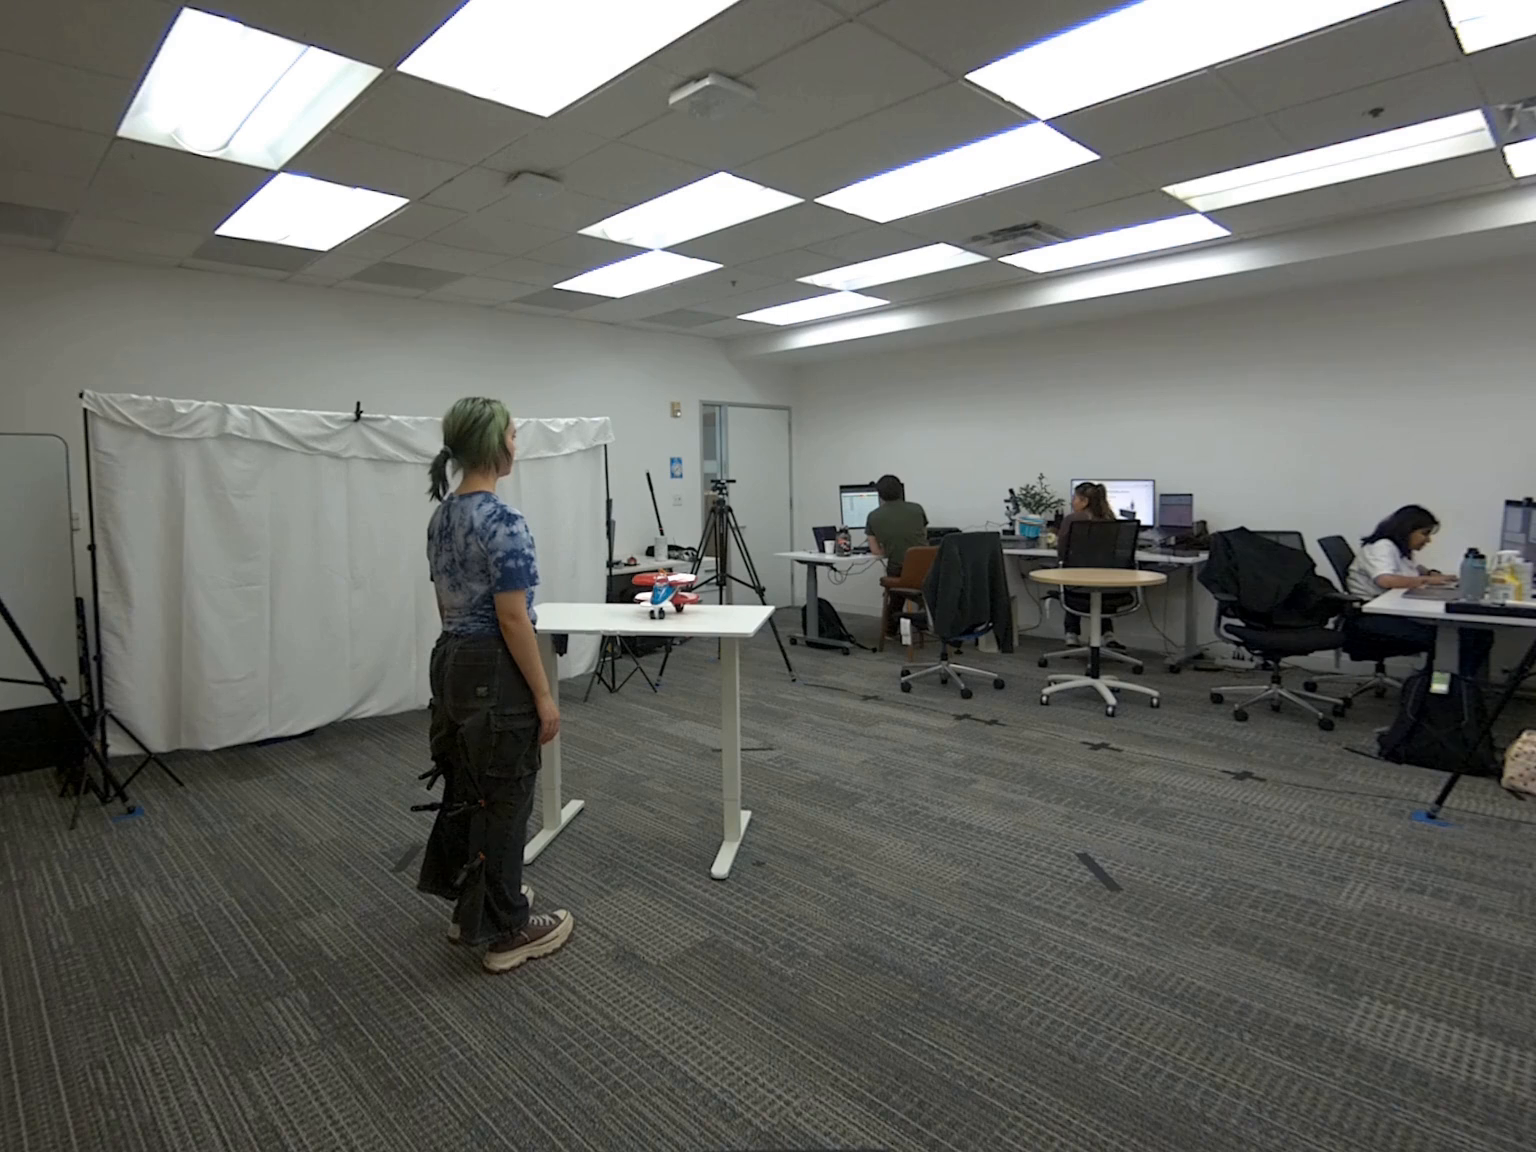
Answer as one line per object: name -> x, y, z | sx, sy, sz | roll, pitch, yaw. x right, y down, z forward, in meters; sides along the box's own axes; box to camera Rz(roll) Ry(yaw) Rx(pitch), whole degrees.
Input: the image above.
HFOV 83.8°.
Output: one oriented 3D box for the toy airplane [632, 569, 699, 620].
toy airplane -> -0.384, 0.075, 3.292 | 0.247, 0.156, 0.265 | -3, 6, -20
